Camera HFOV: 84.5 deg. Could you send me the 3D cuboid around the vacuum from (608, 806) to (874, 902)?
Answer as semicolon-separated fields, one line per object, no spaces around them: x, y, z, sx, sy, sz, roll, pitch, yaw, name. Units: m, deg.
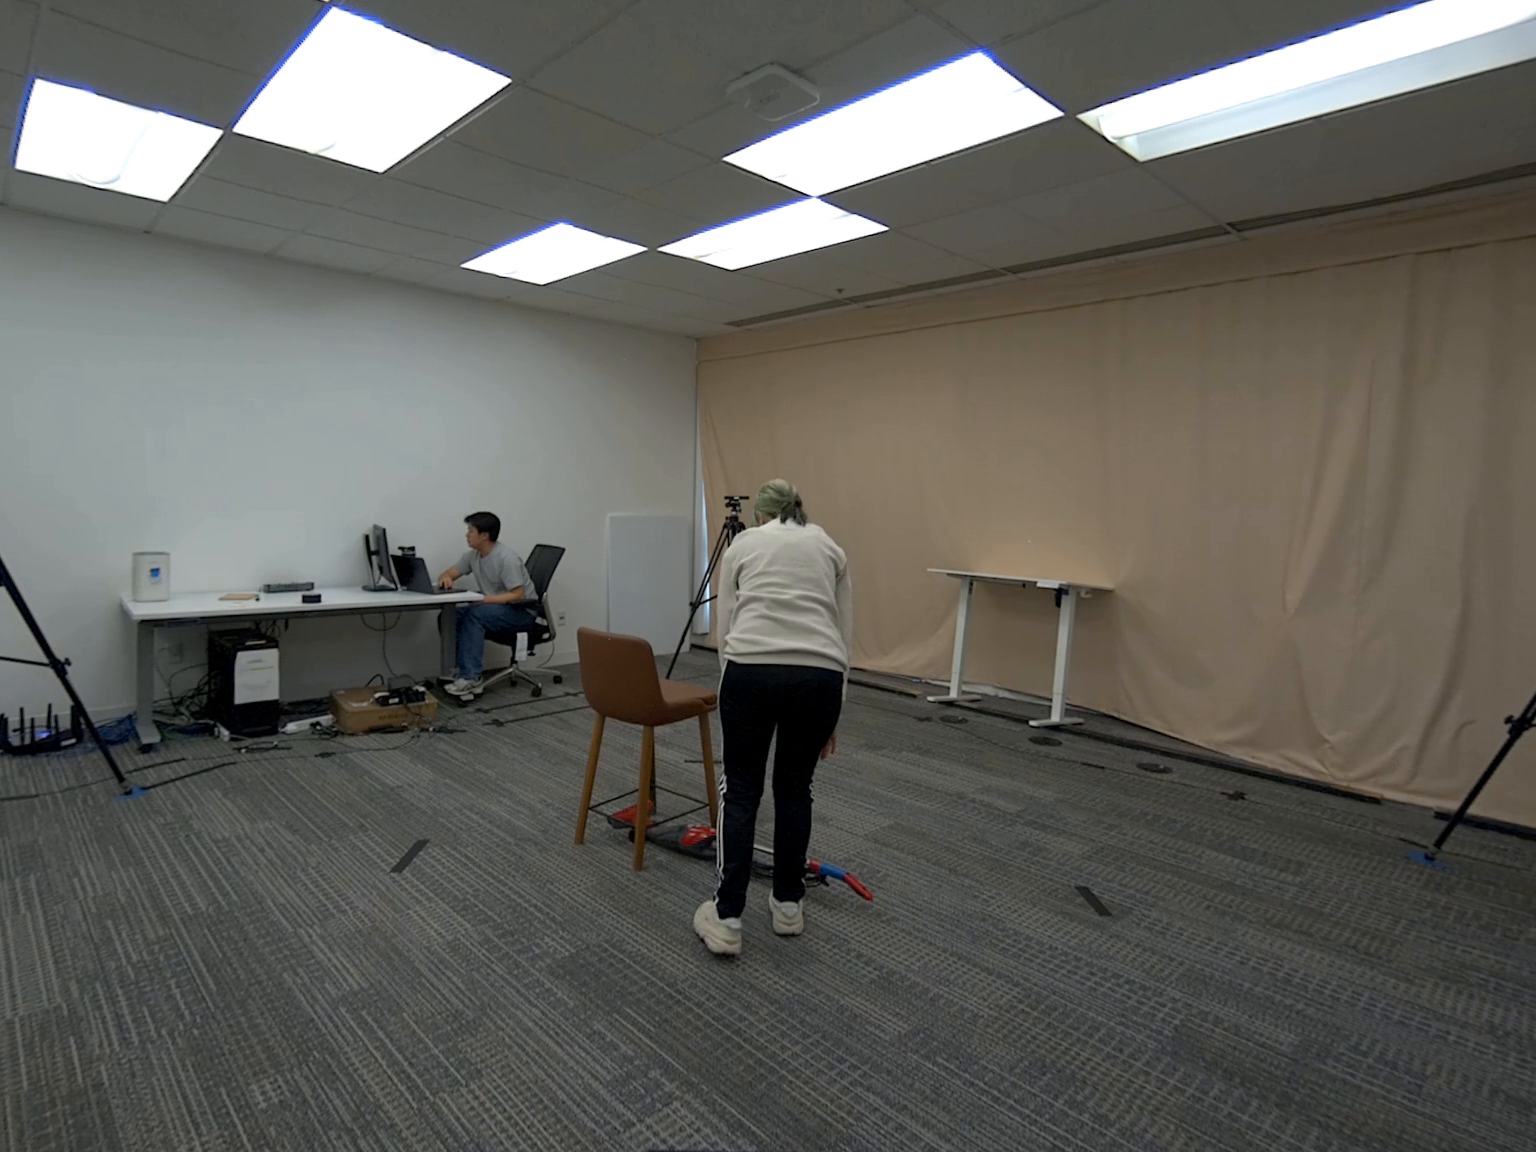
-0.106;1.052;3.141;1.075;0.143;0.247;6;8;35;vacuum
